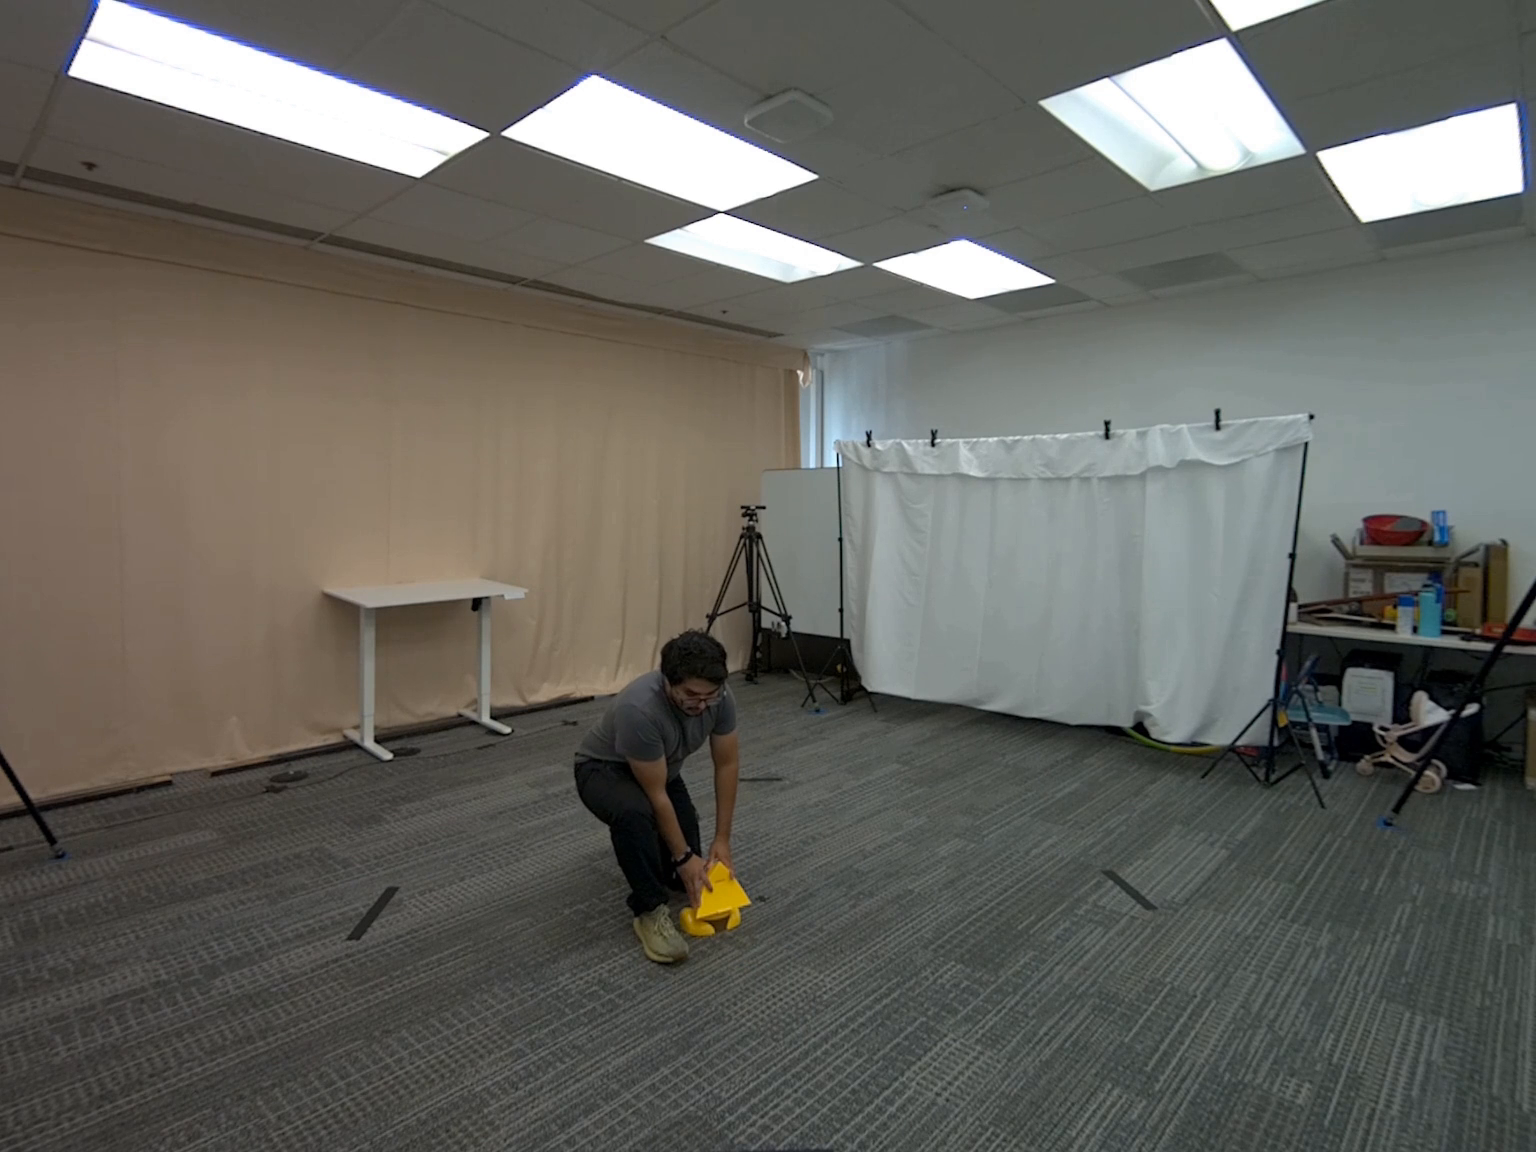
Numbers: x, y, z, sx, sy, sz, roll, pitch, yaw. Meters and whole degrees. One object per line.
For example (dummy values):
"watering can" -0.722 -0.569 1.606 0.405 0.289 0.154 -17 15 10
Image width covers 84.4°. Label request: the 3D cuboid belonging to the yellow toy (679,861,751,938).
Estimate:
"yellow toy" -0.192 1.048 2.807 0.199 0.230 0.199 -4 6 -31
